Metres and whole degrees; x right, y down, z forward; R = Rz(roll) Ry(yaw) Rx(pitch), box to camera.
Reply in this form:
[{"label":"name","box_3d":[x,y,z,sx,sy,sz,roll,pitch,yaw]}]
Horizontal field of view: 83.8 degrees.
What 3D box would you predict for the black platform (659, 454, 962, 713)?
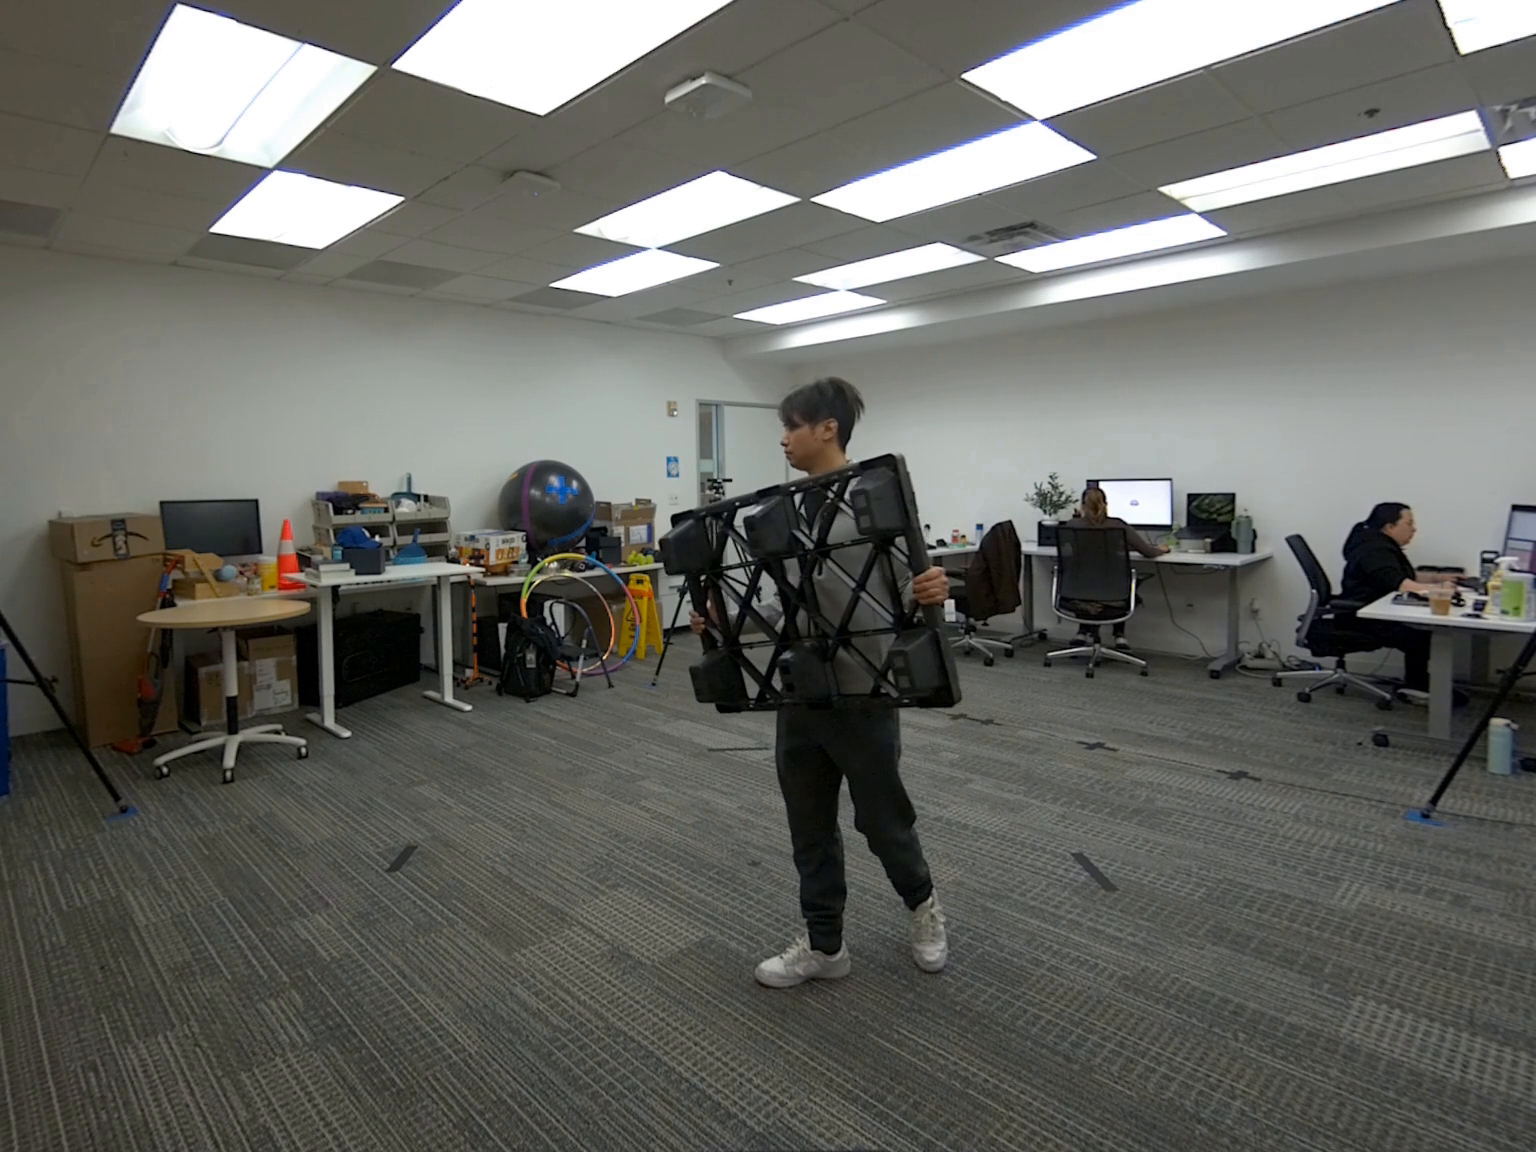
[{"label":"black platform","box_3d":[0.058,0.073,2.204,0.824,0.605,0.140,-12,1,45]}]
